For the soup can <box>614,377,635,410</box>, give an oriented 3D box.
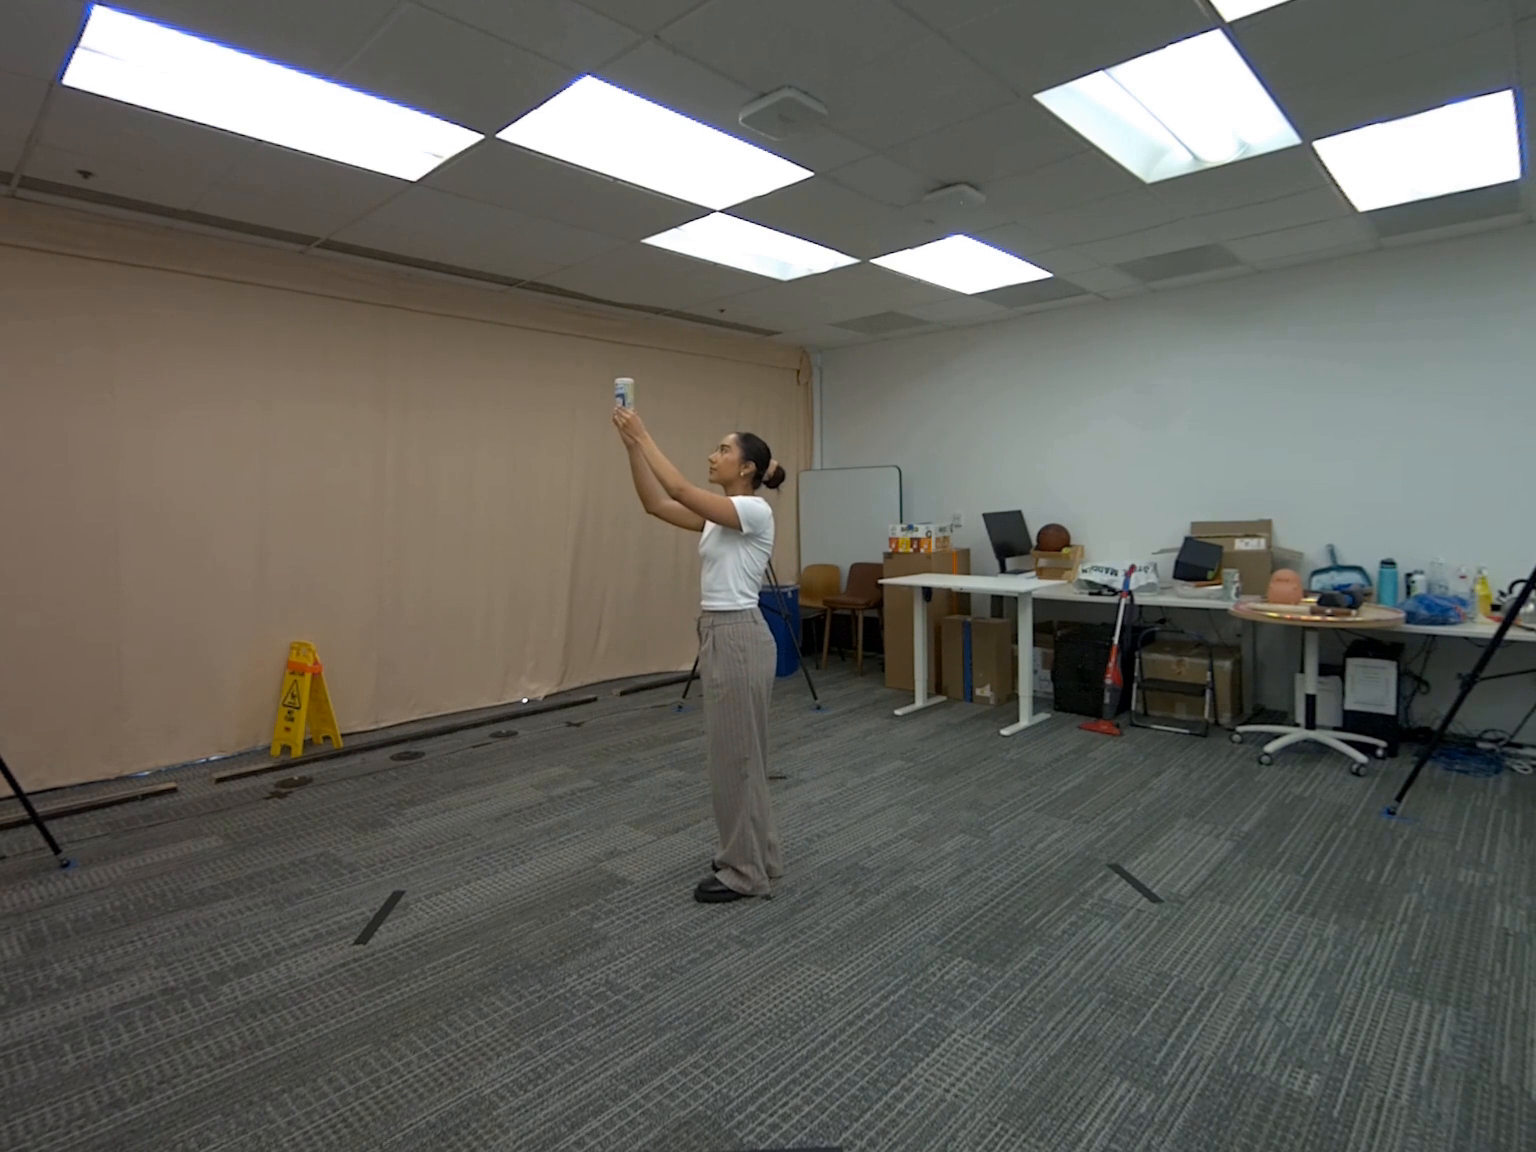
[{"bbox_3d":[-0.502,-0.633,2.966,0.067,0.121,0.067,-1,1,-2],"label":"soup can"}]
